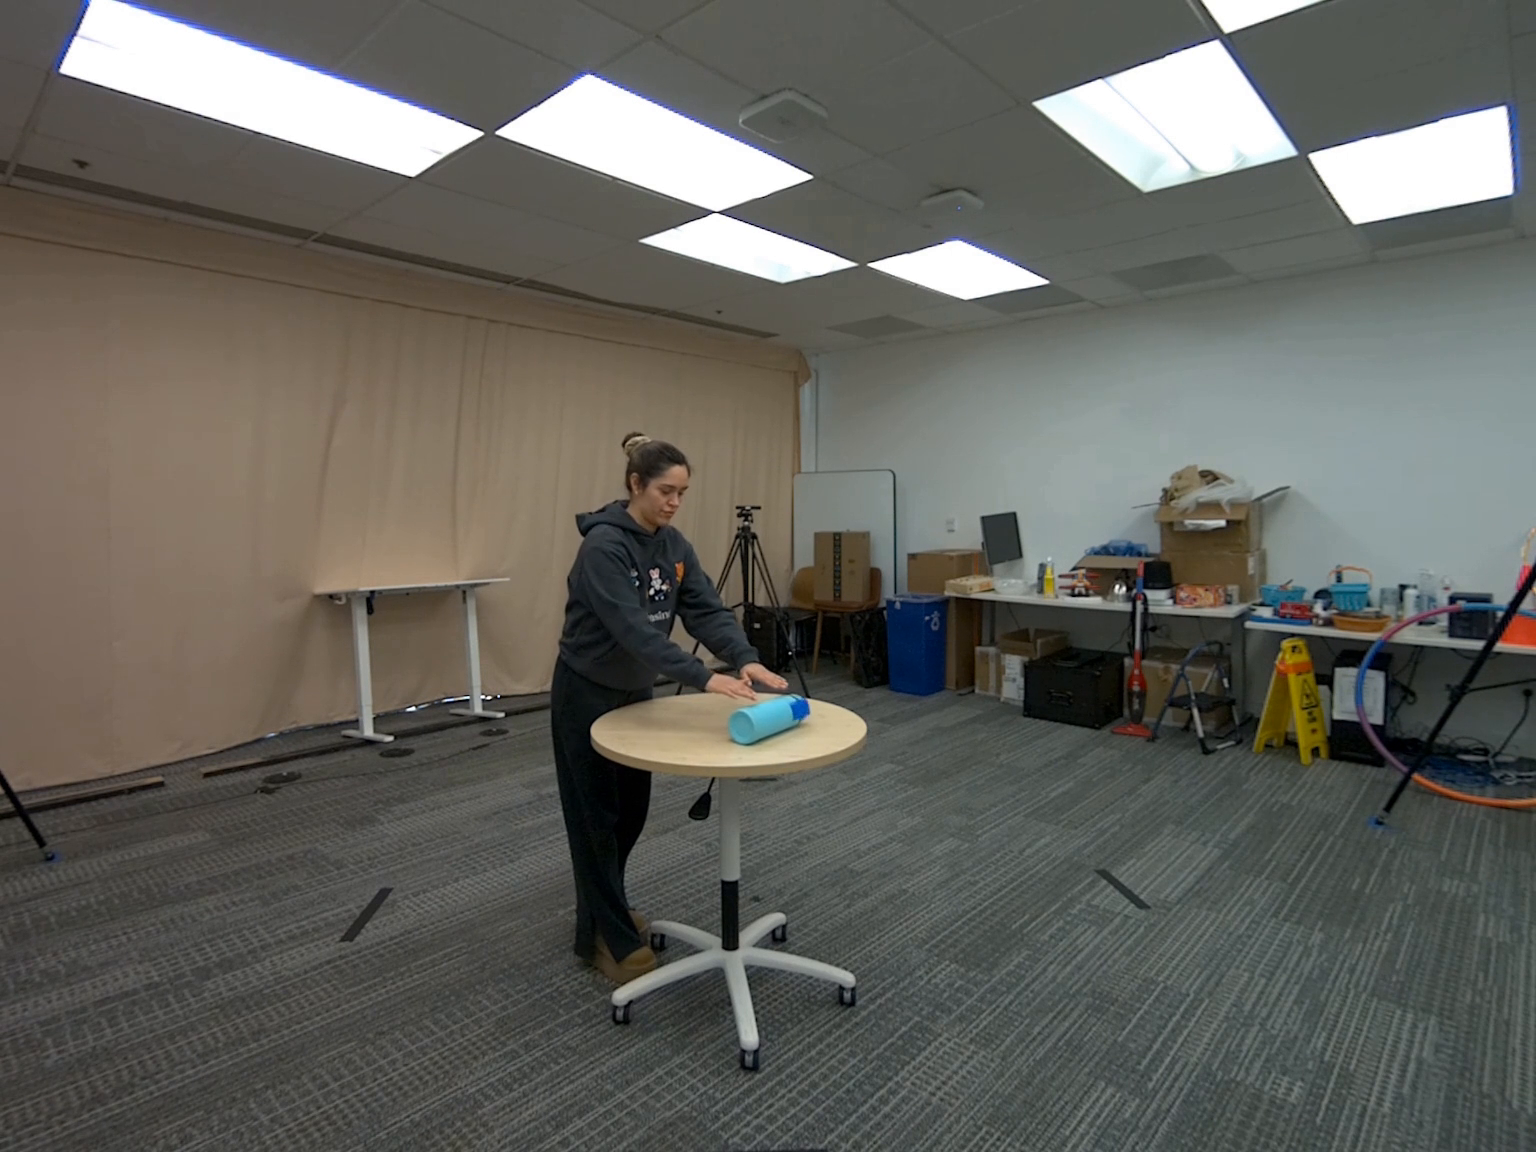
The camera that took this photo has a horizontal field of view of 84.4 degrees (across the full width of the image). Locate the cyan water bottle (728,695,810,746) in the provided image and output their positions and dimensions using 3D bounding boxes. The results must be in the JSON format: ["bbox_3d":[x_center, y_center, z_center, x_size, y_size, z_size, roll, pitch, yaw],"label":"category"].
[{"bbox_3d":[0.017,0.375,2.257,0.095,0.092,0.275,3,6,36],"label":"cyan water bottle"}]
